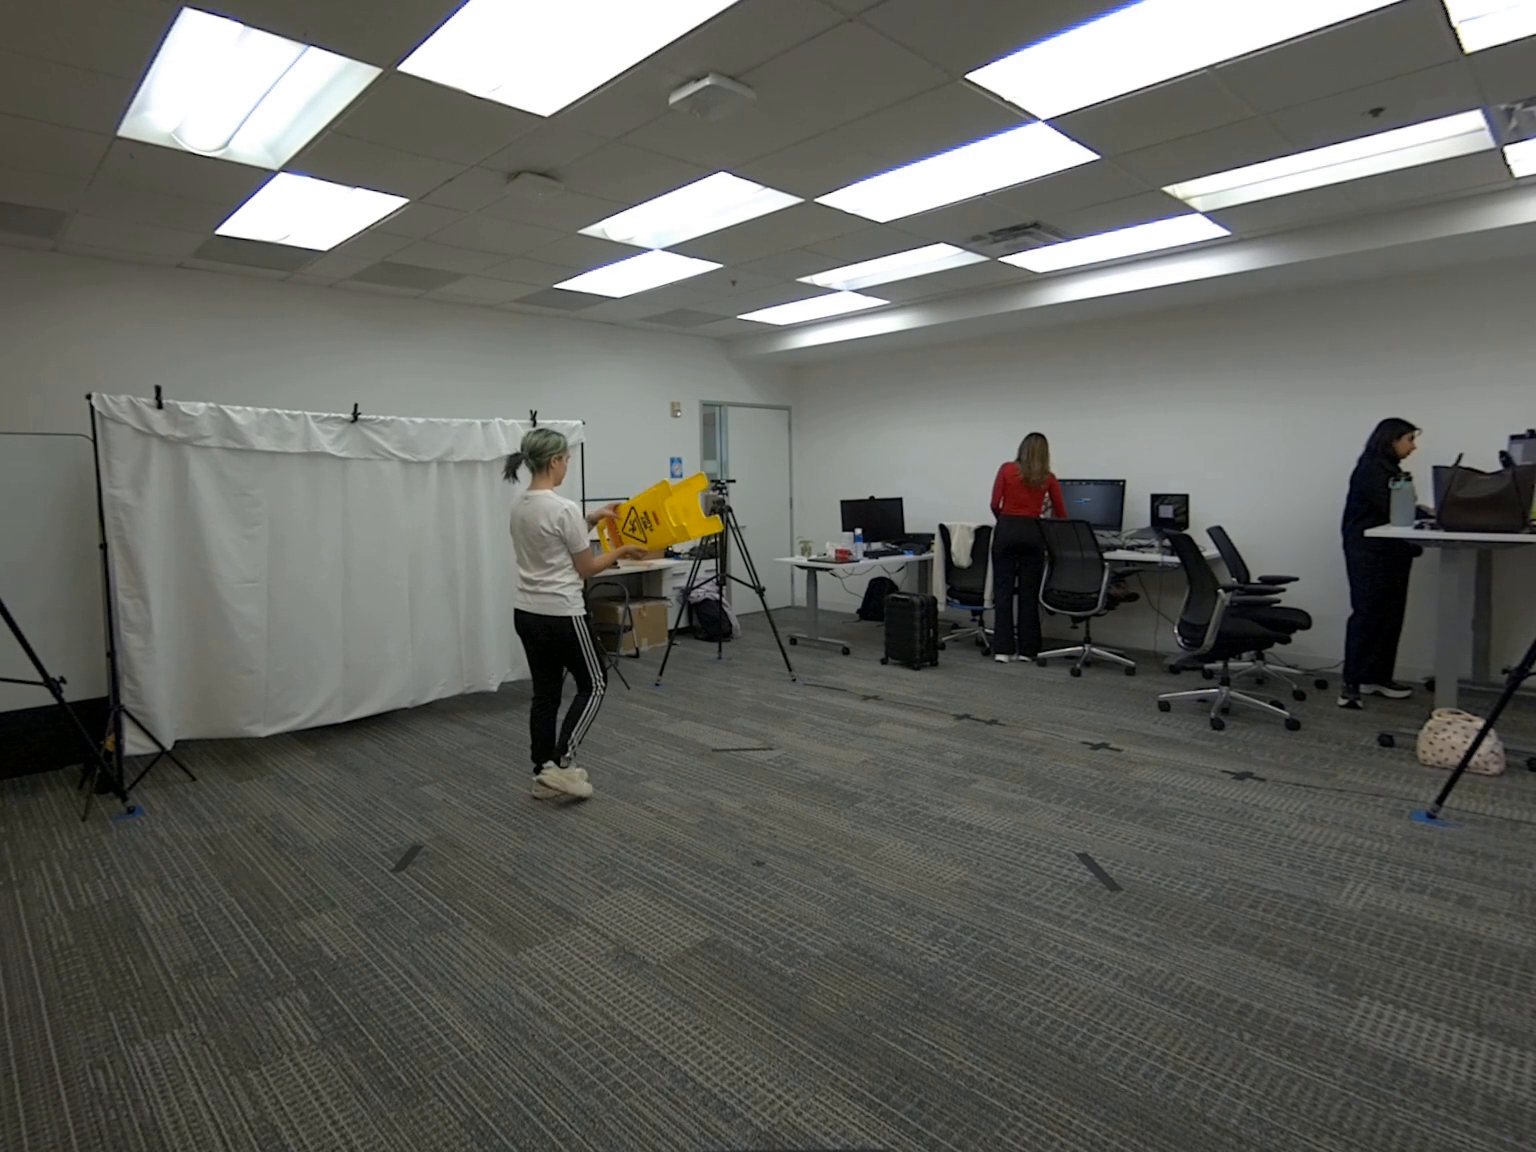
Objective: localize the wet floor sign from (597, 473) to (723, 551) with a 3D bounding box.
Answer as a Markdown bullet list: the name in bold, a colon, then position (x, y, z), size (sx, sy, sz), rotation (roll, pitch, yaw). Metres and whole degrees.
- **wet floor sign**: position (-0.547, -0.231, 3.904), size (0.658, 0.282, 0.284), rotation (-17, 2, 41)
